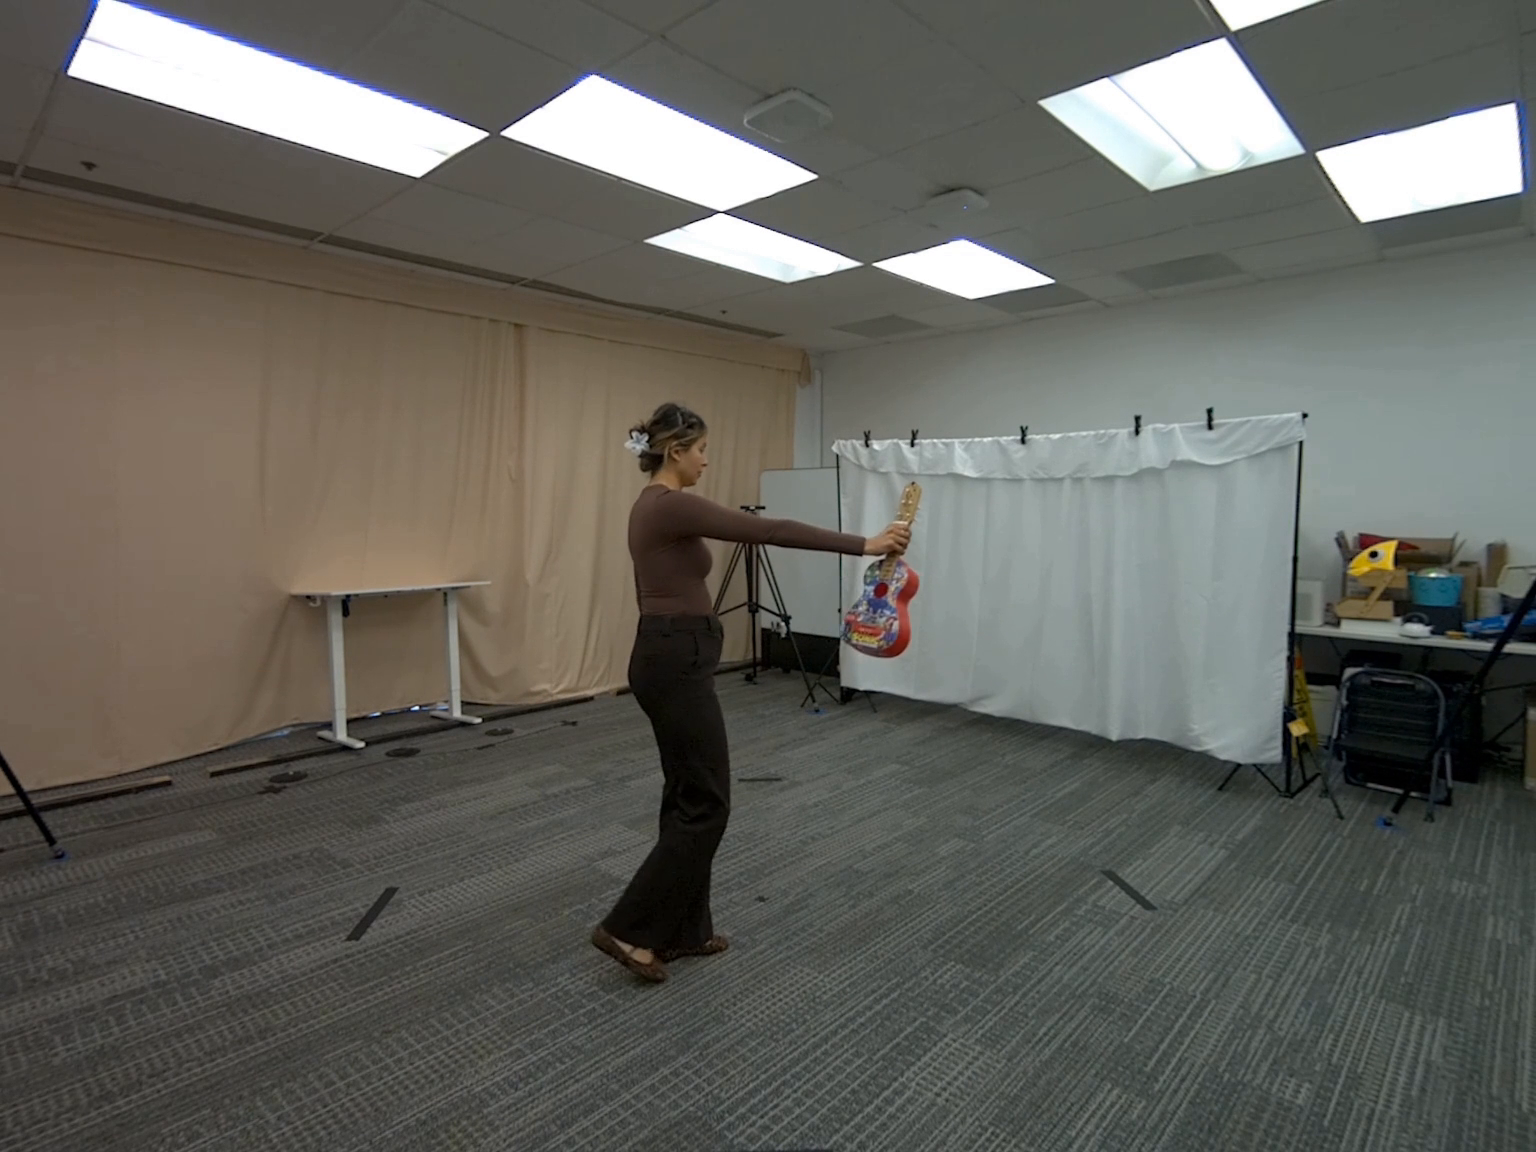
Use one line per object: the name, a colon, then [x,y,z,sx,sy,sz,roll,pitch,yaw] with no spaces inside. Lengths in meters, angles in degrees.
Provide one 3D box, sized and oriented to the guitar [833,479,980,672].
guitar: [0.376,-0.010,2.320,0.200,0.498,0.068,23,-5,46]
